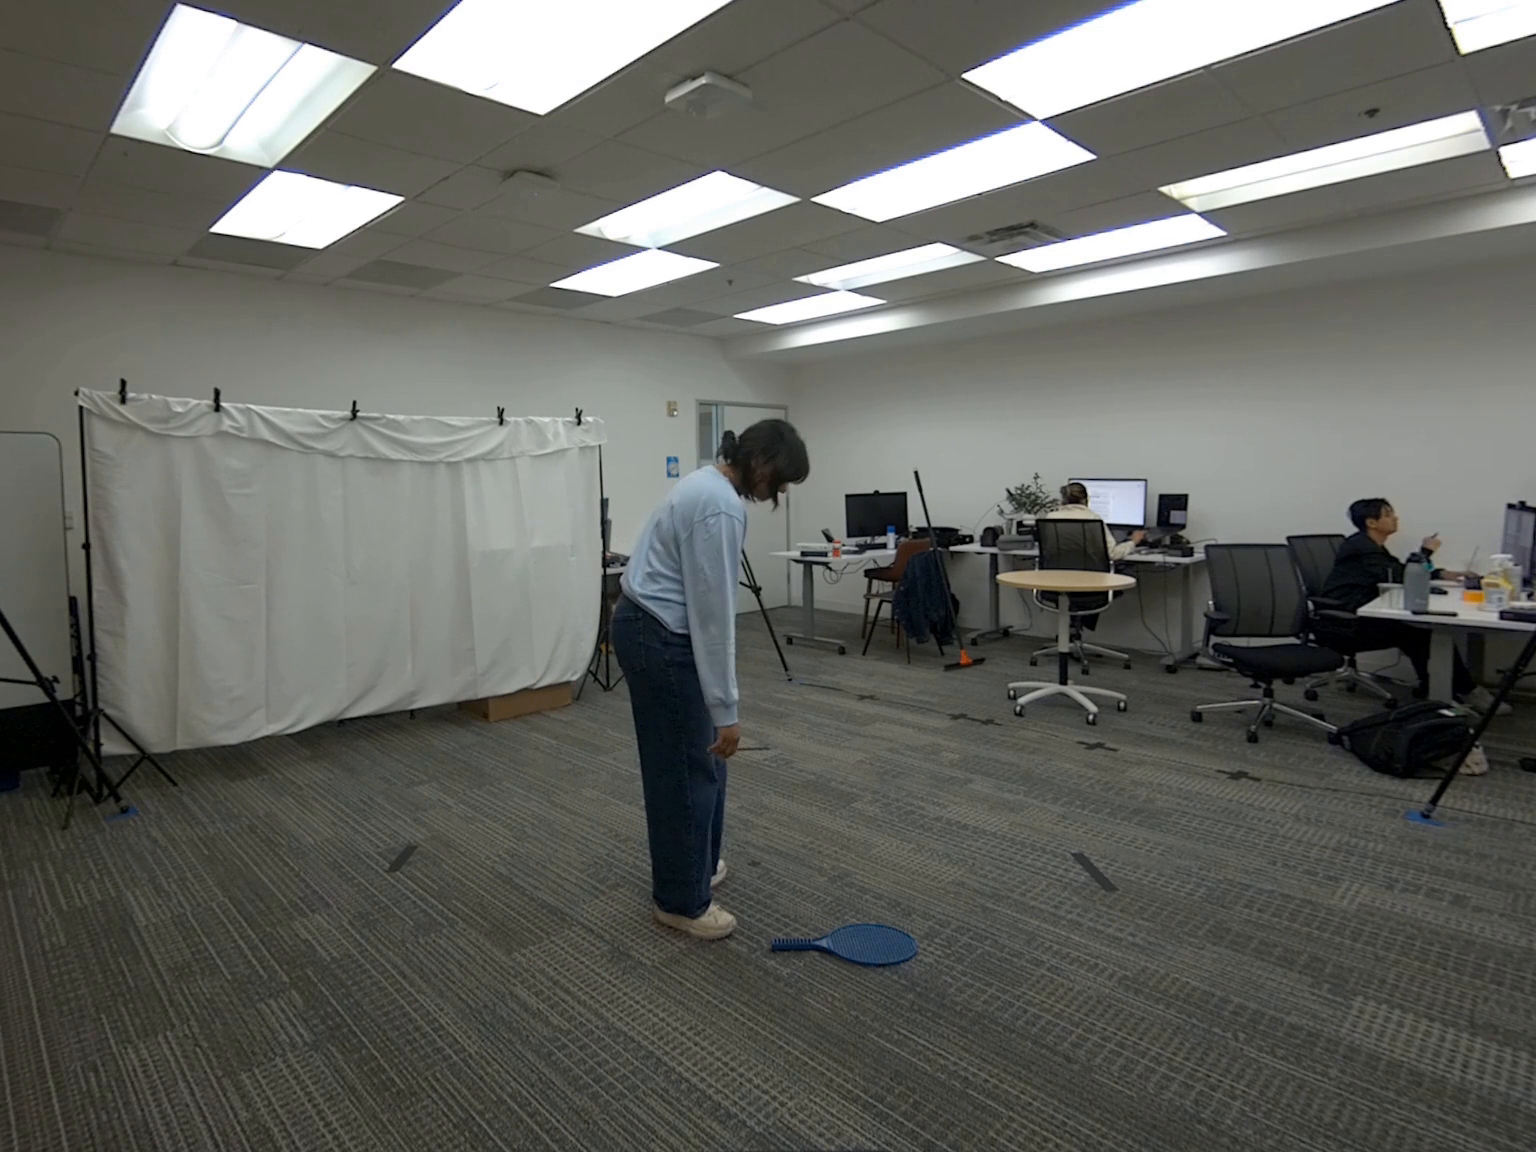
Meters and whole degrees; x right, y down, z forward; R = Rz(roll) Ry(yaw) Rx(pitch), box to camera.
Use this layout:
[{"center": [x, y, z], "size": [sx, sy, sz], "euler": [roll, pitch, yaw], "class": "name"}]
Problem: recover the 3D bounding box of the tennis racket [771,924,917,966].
[{"center": [0.228, 1.087, 2.542], "size": [0.431, 0.031, 0.215], "euler": [-1, 6, -4], "class": "tennis racket"}]
